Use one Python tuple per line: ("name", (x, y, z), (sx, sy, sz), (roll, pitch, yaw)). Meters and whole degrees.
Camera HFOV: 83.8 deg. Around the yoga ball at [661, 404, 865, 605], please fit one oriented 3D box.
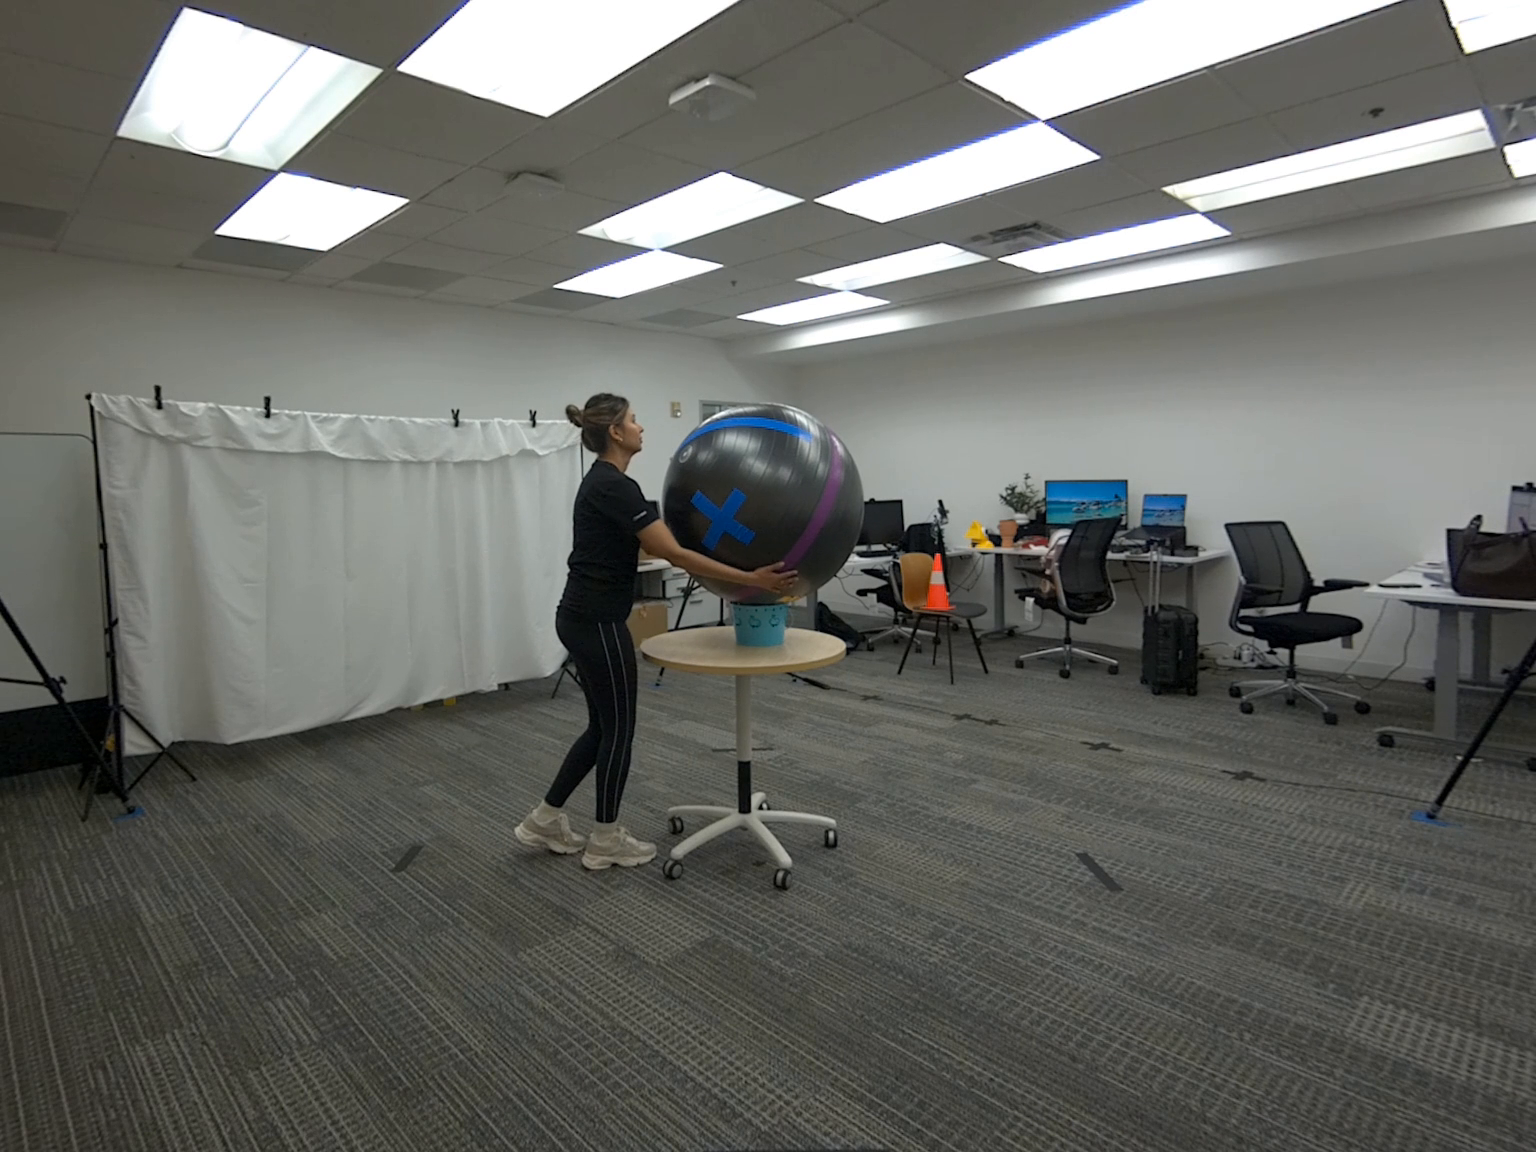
("yoga ball", (-0.023, -0.265, 3.211), (0.757, 0.755, 0.762), (-1, 5, -2))
